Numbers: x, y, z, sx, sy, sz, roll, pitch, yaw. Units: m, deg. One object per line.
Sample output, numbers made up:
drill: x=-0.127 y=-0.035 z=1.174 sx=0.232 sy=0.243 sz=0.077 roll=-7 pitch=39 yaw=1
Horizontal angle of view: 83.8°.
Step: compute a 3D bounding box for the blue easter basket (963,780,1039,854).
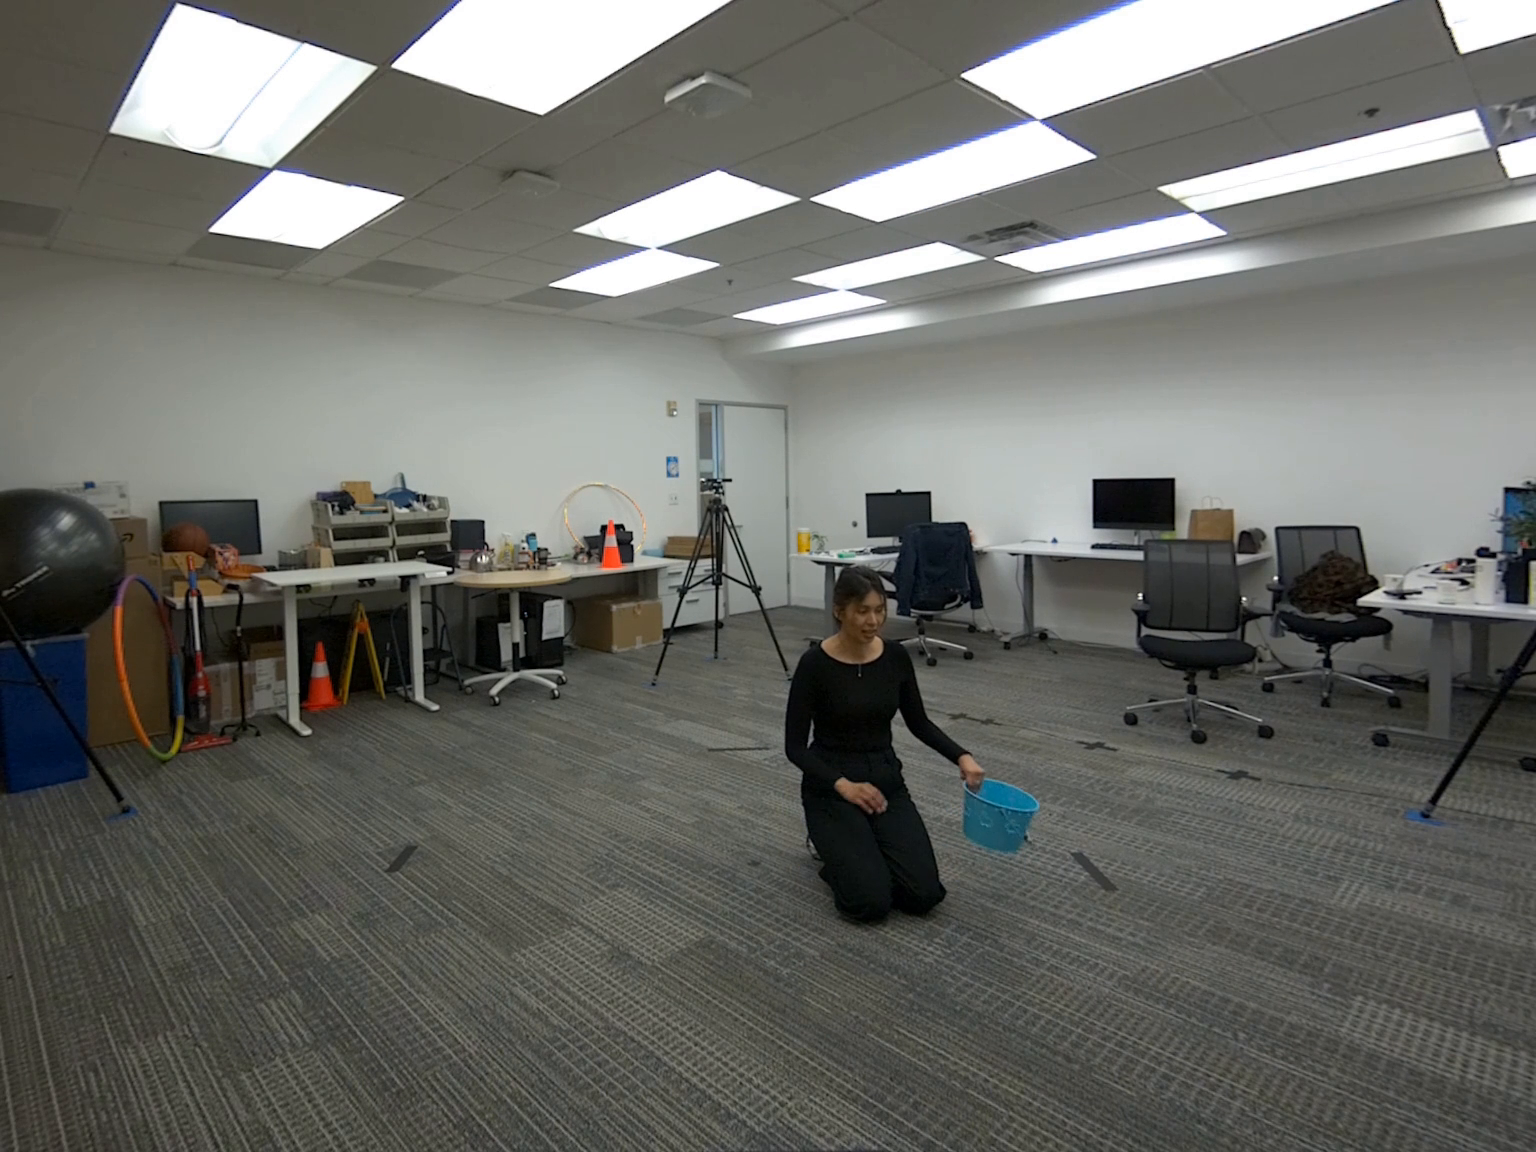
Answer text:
blue easter basket: x=0.725 y=0.771 z=2.719 sx=0.243 sy=0.155 sz=0.245 roll=10 pitch=8 yaw=-3
